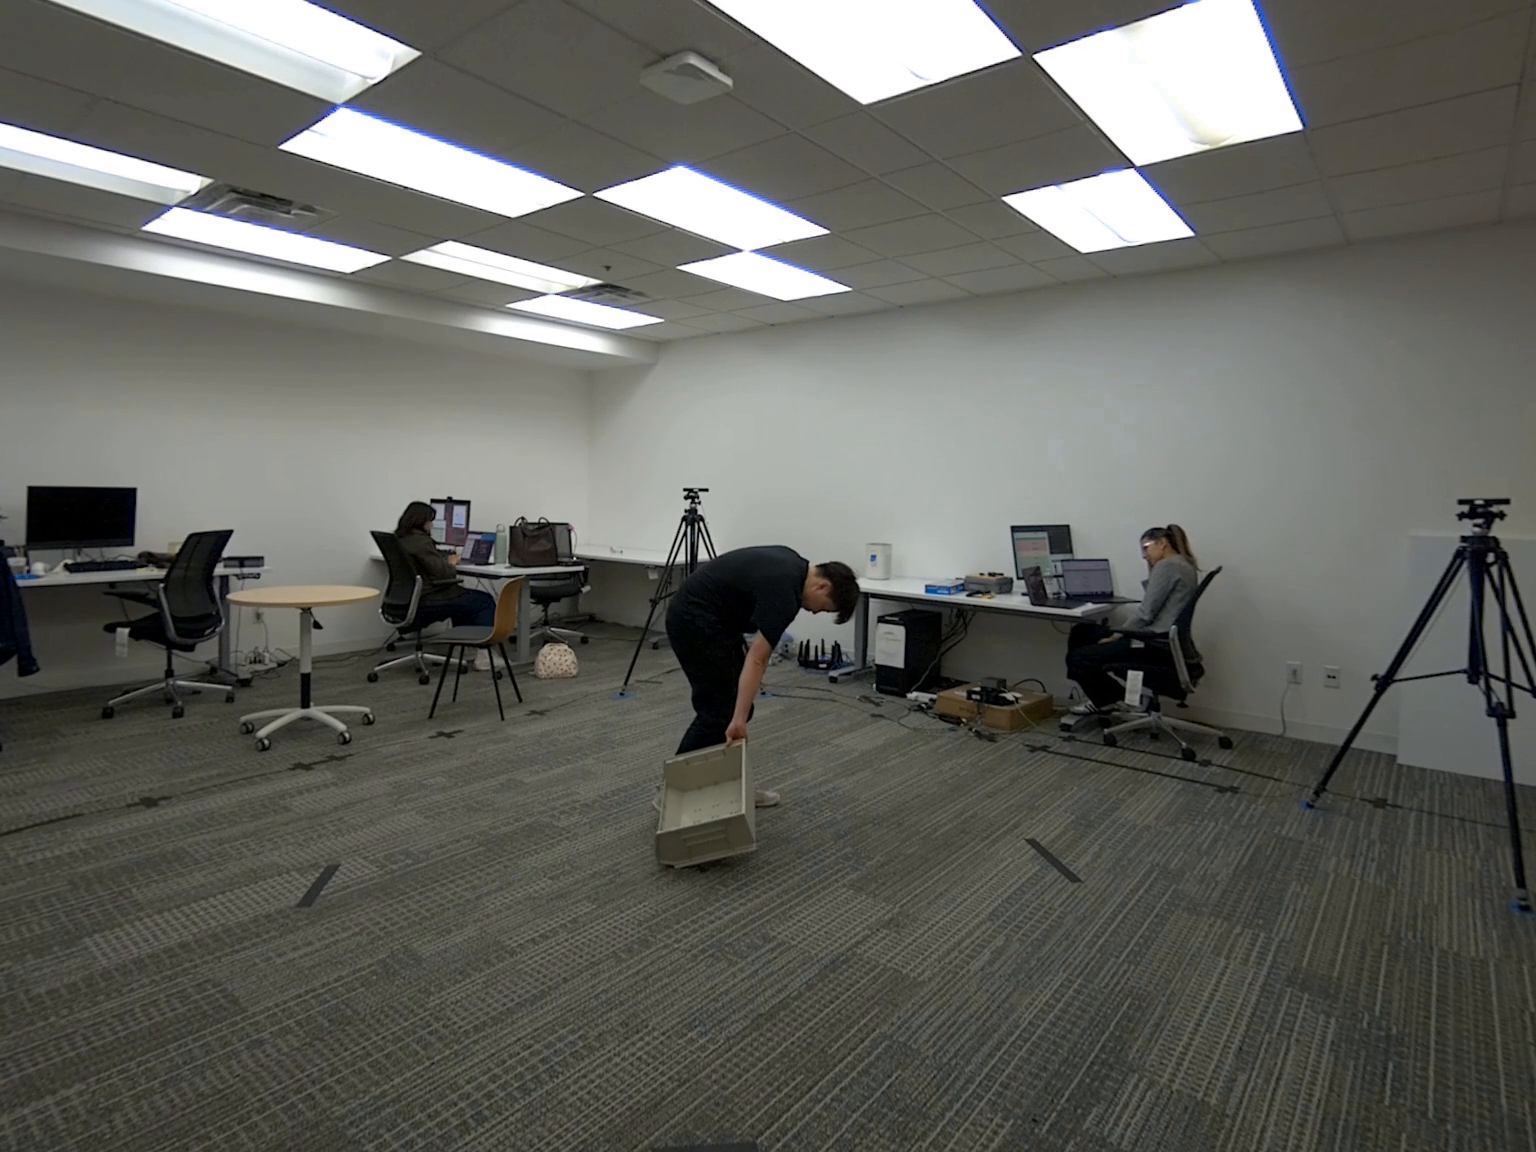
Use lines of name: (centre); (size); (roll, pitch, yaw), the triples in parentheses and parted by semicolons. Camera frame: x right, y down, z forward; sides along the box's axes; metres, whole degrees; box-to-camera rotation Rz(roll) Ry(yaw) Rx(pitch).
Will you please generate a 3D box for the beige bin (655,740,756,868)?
beige bin: (-0.250, 0.860, 3.236); (0.379, 0.184, 0.432); (-13, 24, 4)
